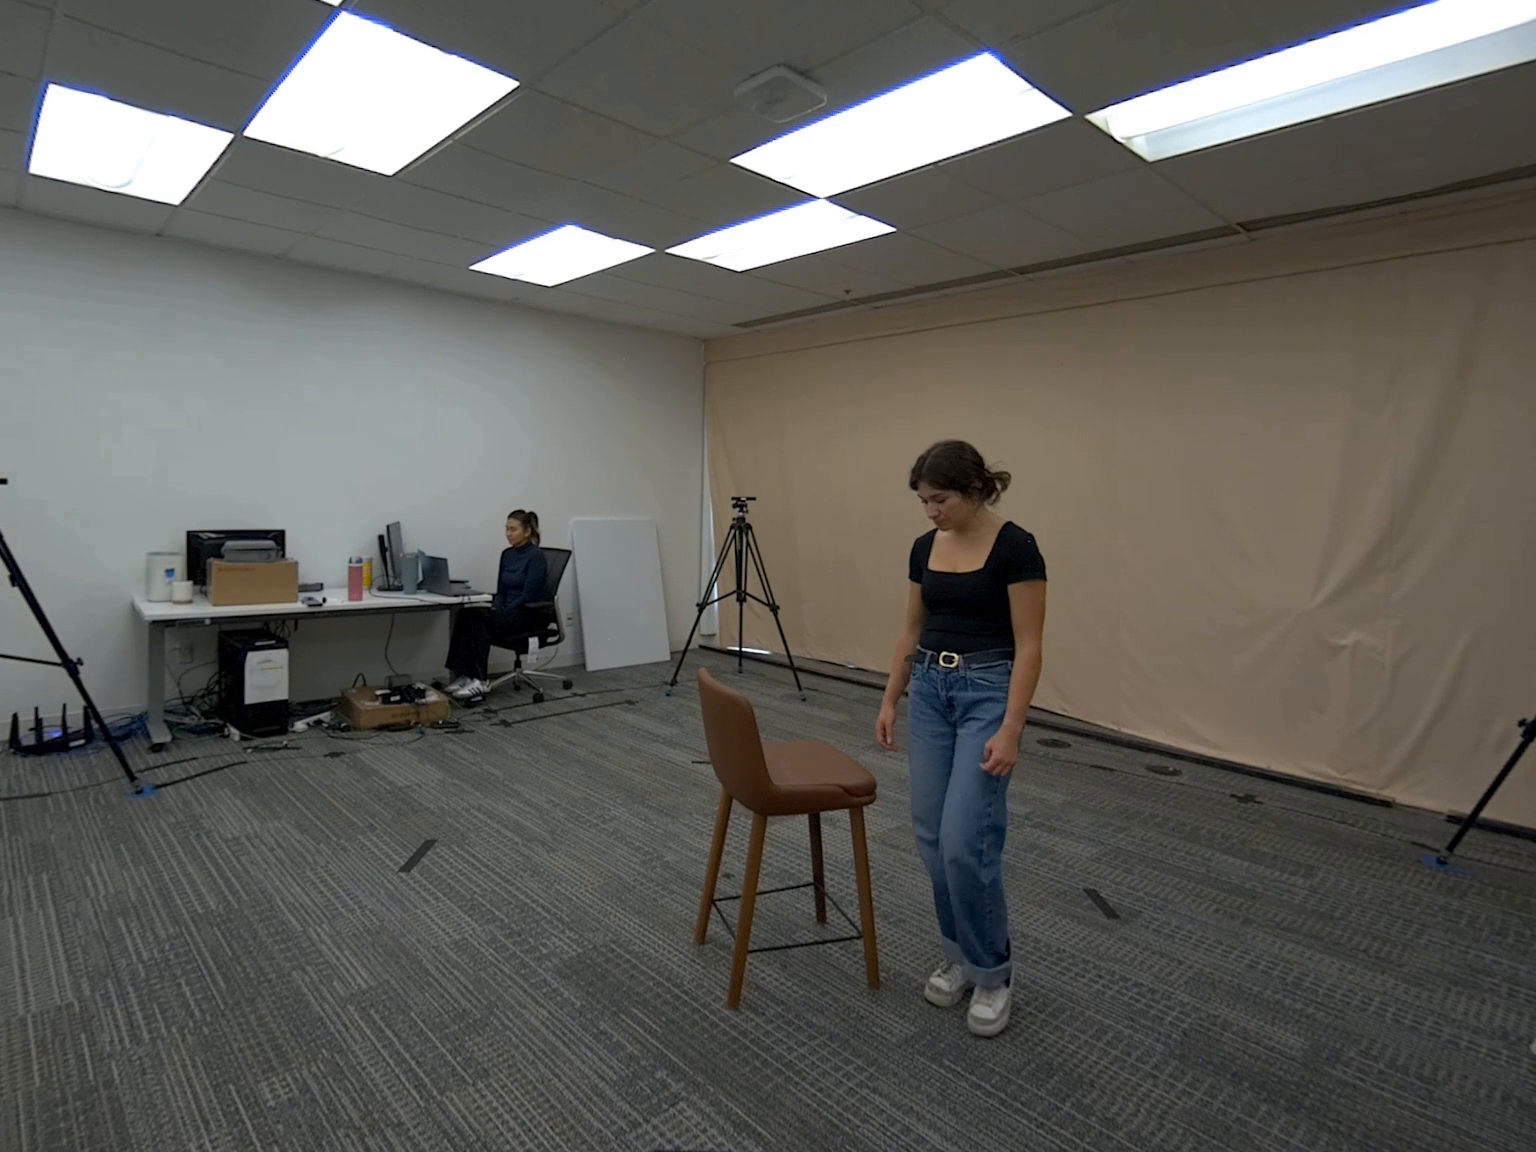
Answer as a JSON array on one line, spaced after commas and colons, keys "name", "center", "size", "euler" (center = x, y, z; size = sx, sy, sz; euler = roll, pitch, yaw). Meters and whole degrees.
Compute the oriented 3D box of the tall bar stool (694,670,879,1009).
[{"name": "tall bar stool", "center": [0.045, 0.732, 2.505], "size": [0.461, 0.887, 0.464], "euler": [-2, 5, -19]}]
